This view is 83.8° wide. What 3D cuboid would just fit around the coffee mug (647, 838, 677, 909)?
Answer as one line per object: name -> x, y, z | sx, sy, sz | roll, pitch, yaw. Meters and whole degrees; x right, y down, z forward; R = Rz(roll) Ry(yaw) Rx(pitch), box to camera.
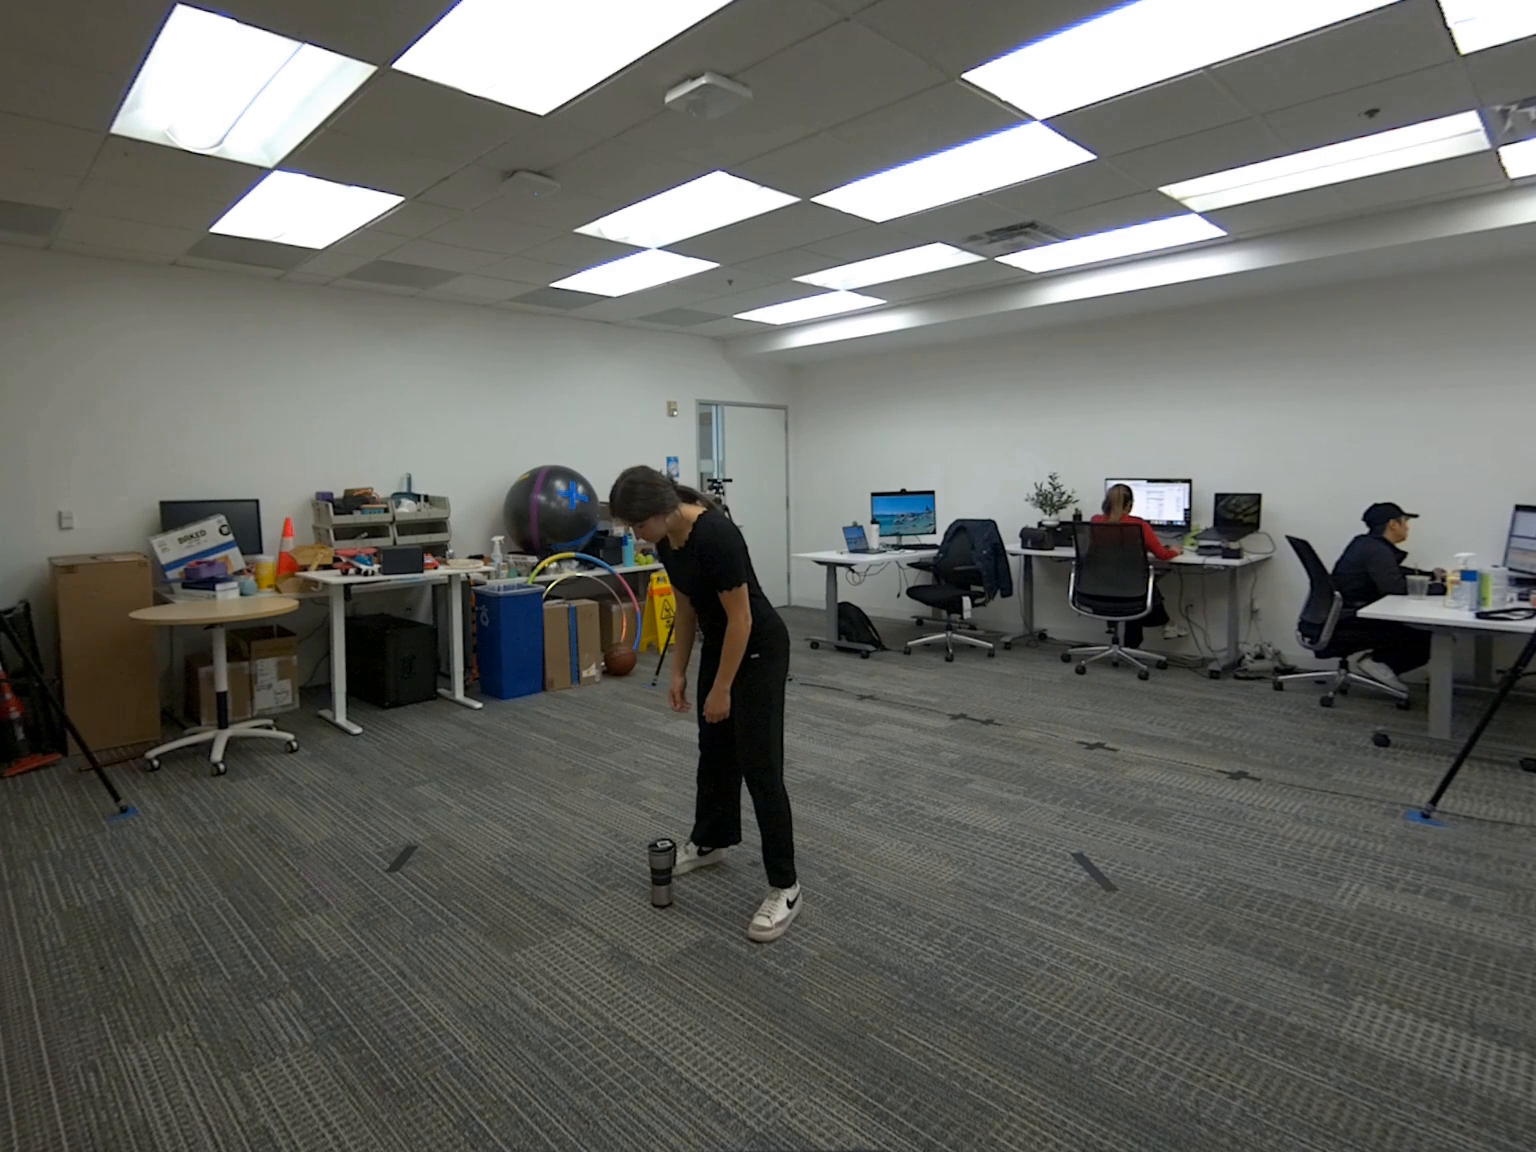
coffee mug -> -0.326, 0.983, 2.830 | 0.119, 0.202, 0.090 | -9, 6, -41
